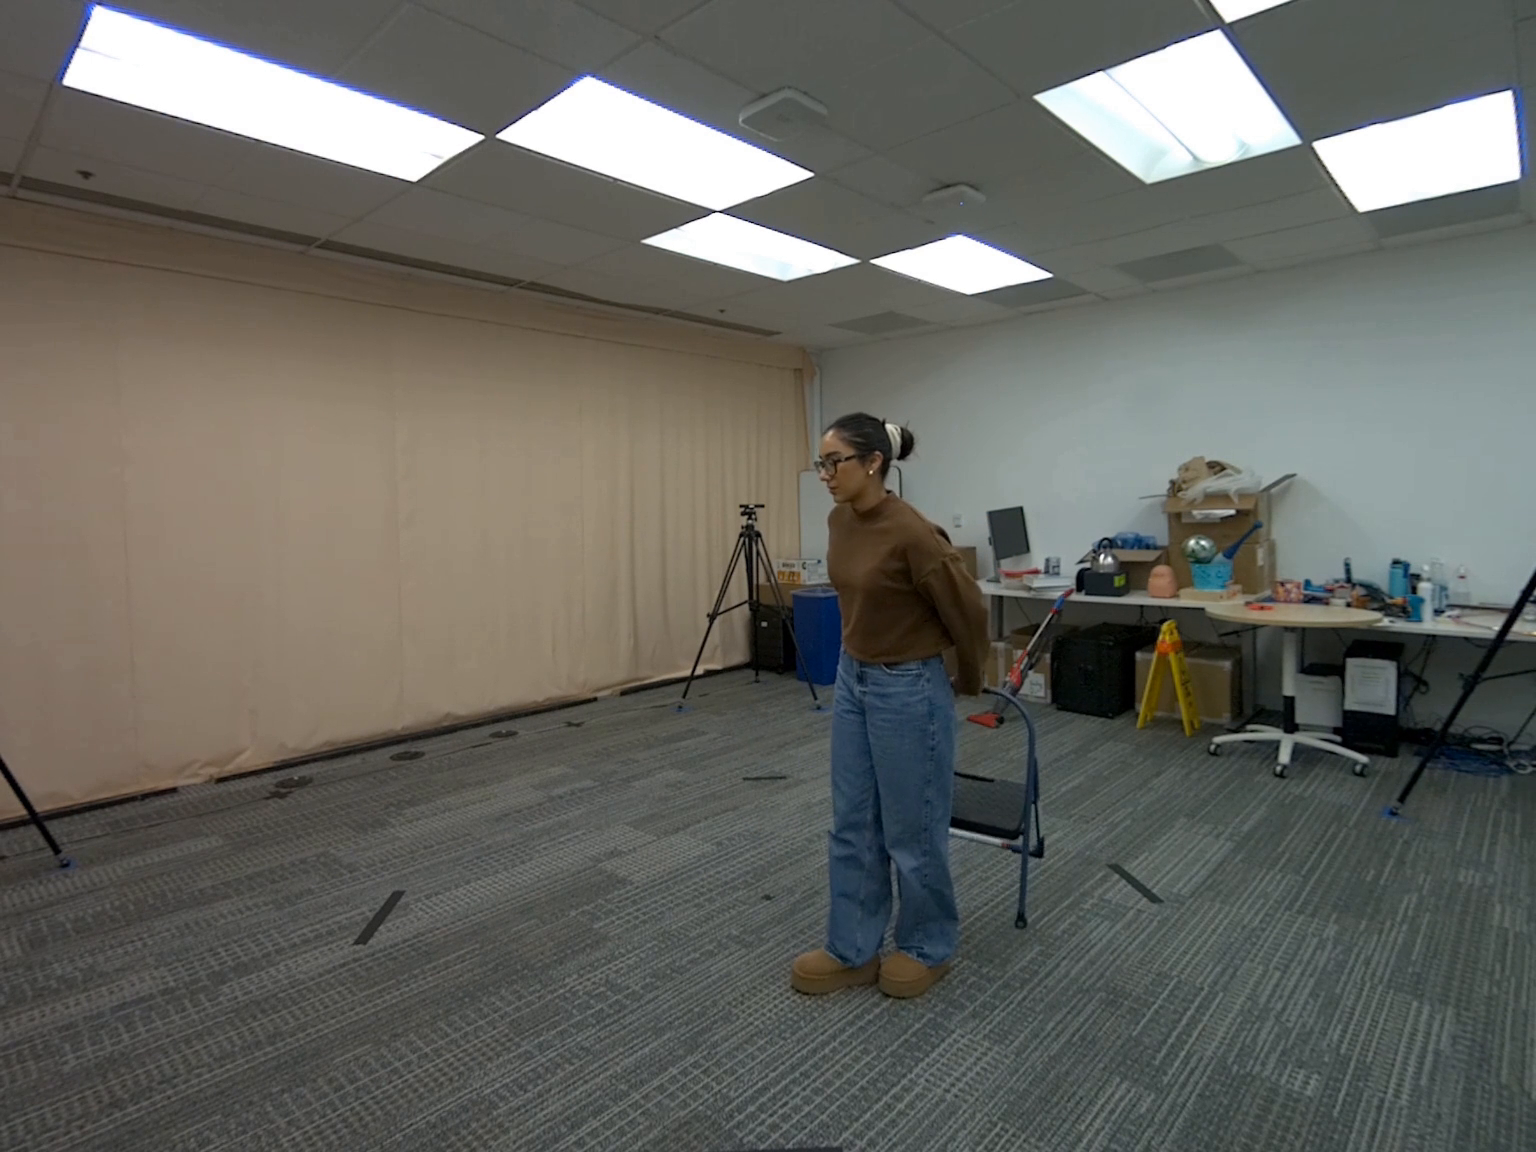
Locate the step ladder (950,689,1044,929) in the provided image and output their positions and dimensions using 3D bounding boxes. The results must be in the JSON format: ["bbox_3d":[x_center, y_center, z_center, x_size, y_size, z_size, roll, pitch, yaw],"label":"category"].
[{"bbox_3d":[0.602,0.630,2.516,0.443,0.599,0.343,4,18,28],"label":"step ladder"}]
